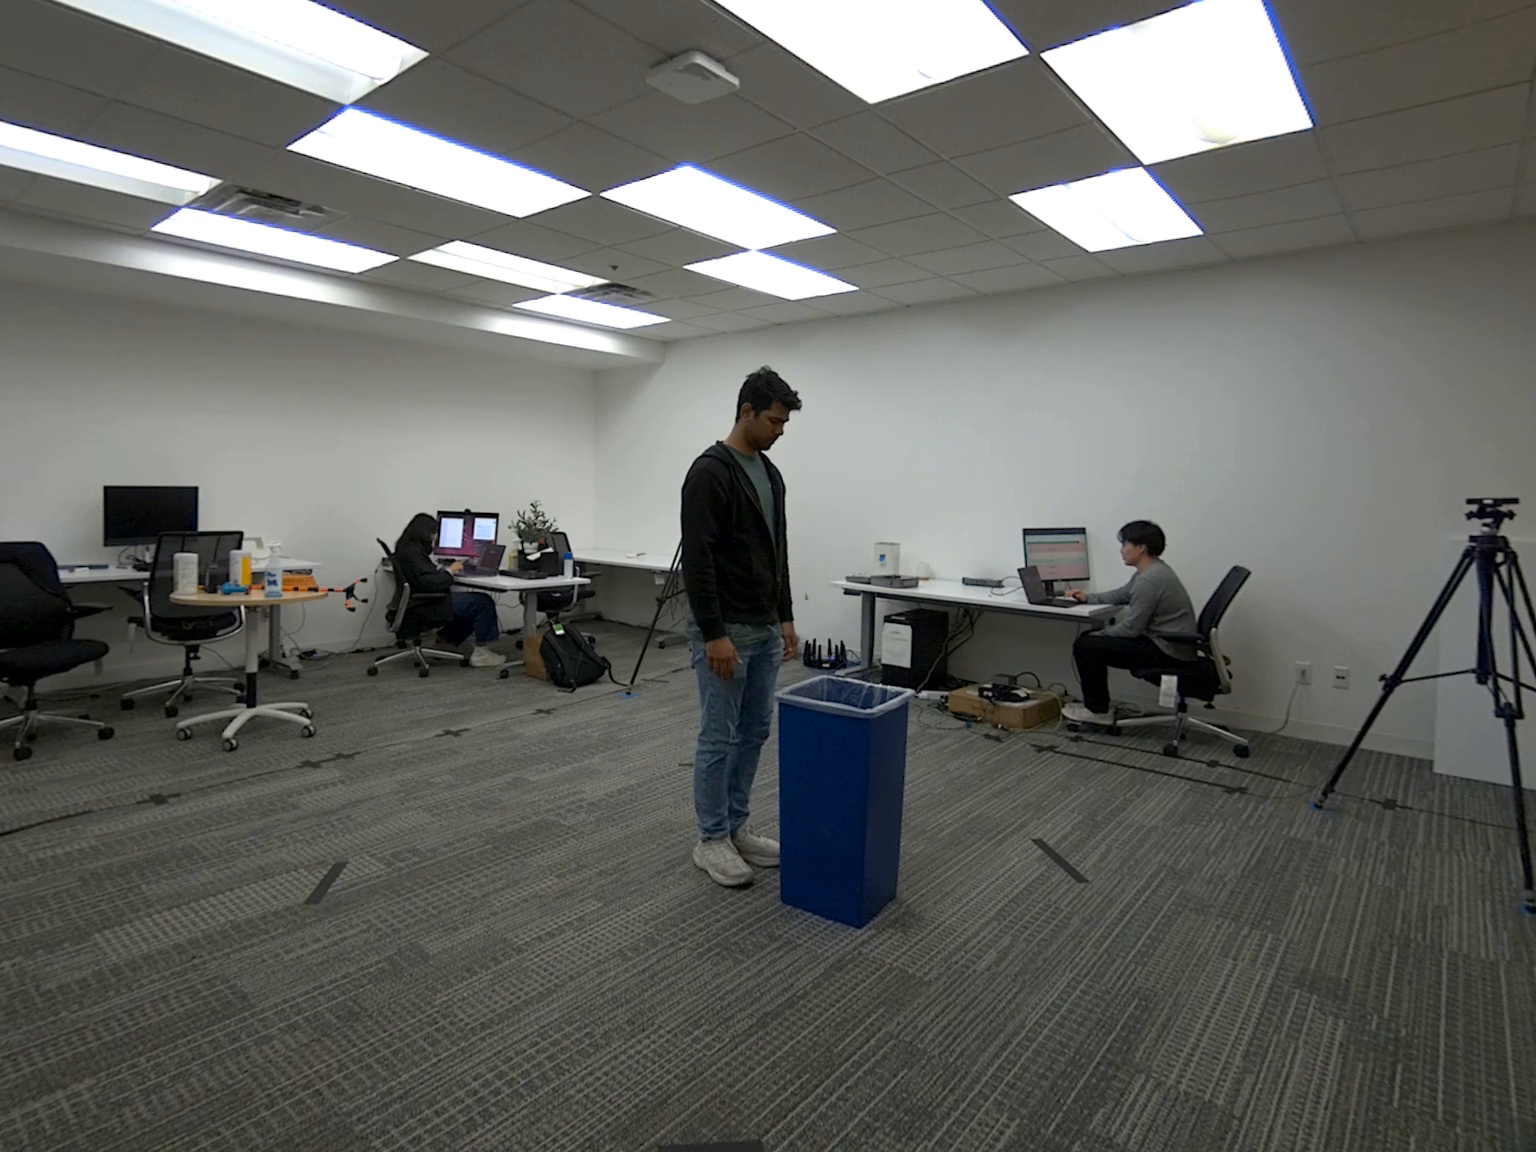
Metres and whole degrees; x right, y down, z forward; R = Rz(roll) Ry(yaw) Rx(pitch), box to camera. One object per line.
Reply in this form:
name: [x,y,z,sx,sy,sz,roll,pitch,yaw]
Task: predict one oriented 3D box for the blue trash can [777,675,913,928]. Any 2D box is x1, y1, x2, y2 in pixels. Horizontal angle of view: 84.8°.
blue trash can: [0.243,0.741,2.875,0.390,0.712,0.364,3,4,32]
